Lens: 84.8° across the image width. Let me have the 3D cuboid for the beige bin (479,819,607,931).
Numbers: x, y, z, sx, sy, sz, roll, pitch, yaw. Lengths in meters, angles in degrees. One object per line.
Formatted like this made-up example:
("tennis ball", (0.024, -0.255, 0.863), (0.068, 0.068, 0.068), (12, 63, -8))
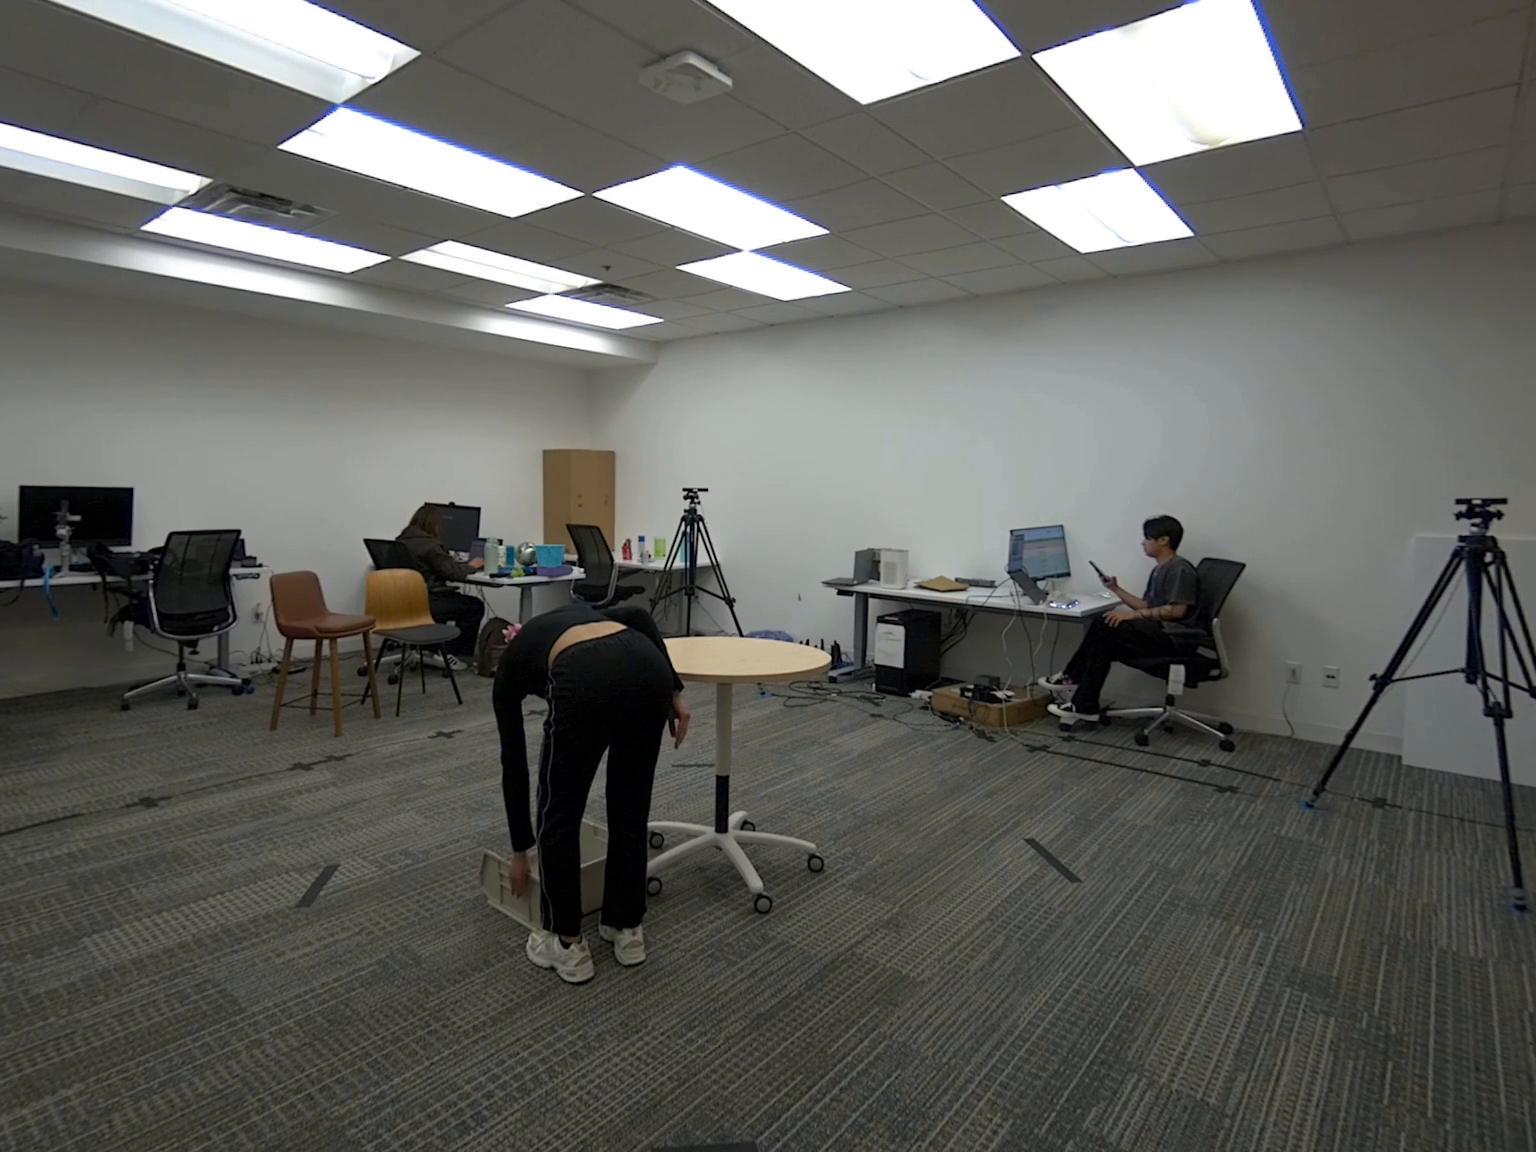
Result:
("beige bin", (-0.710, 0.997, 2.883), (0.390, 0.188, 0.410), (7, 8, 40))
